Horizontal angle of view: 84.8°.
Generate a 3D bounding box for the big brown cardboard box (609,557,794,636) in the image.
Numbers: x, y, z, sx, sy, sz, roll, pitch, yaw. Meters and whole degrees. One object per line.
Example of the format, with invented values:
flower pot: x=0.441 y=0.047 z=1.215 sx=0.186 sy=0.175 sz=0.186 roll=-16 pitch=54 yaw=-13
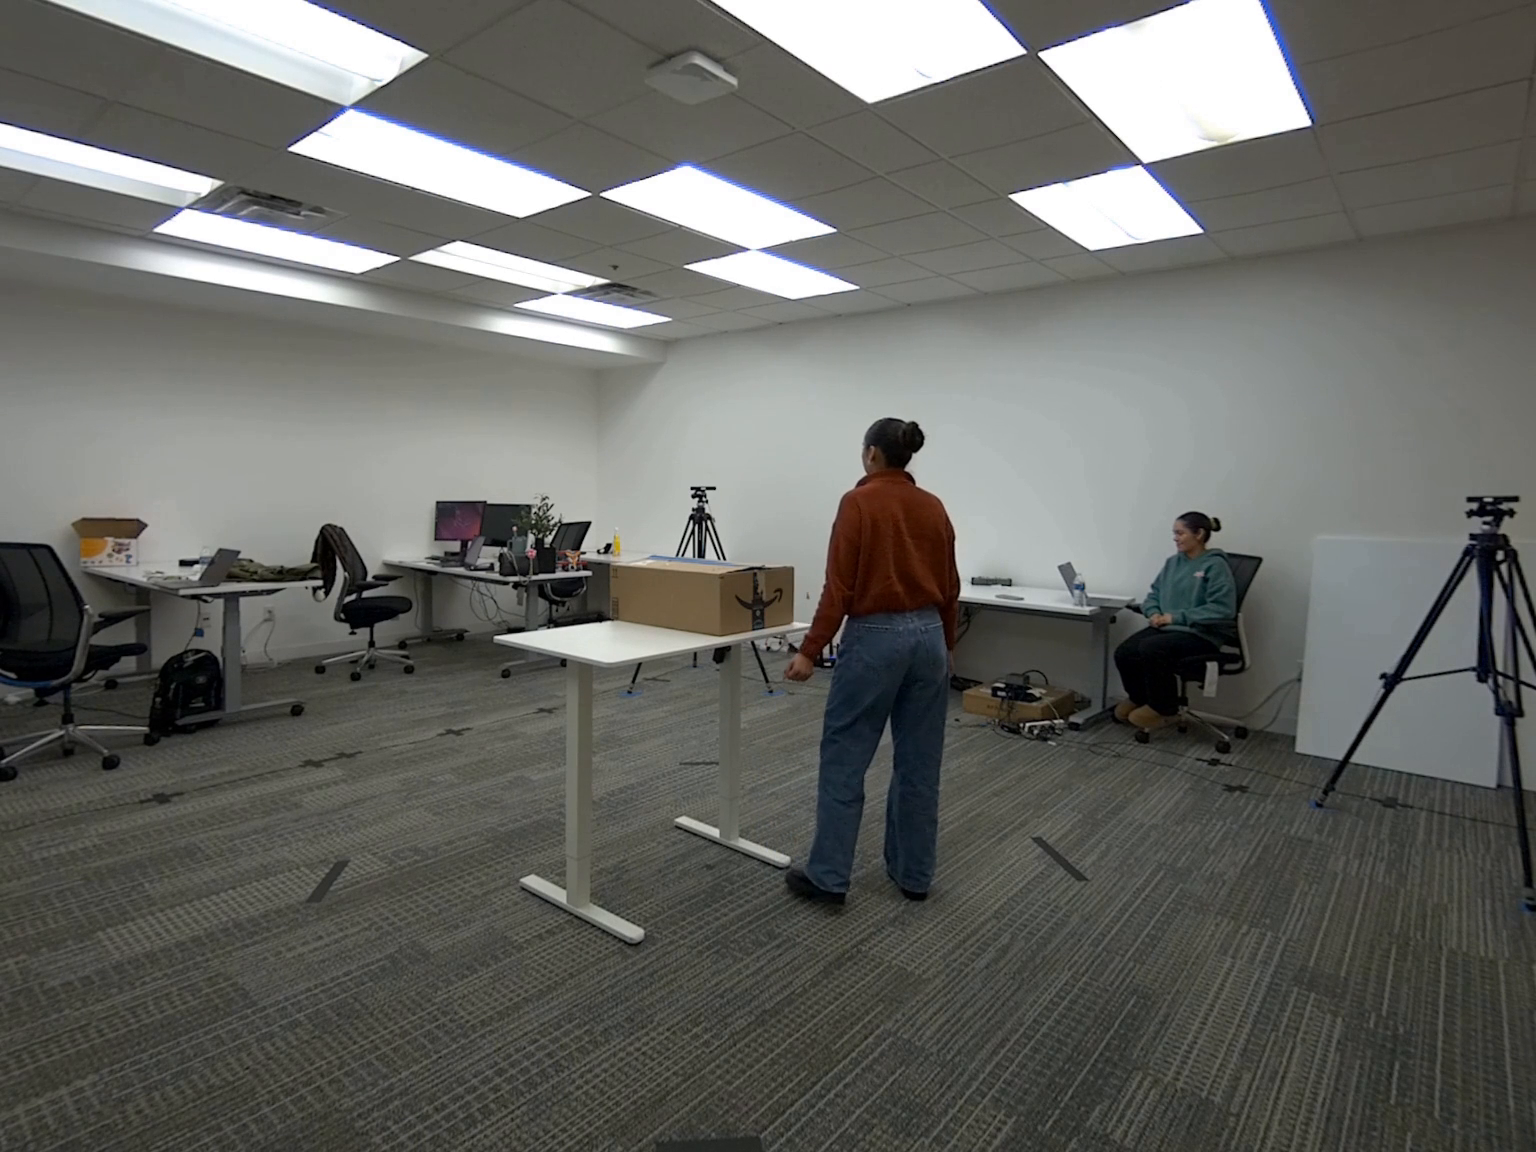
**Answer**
big brown cardboard box: x=-0.266 y=0.062 z=3.222 sx=0.609 sy=0.232 sz=0.405 roll=6 pitch=8 yaw=39
